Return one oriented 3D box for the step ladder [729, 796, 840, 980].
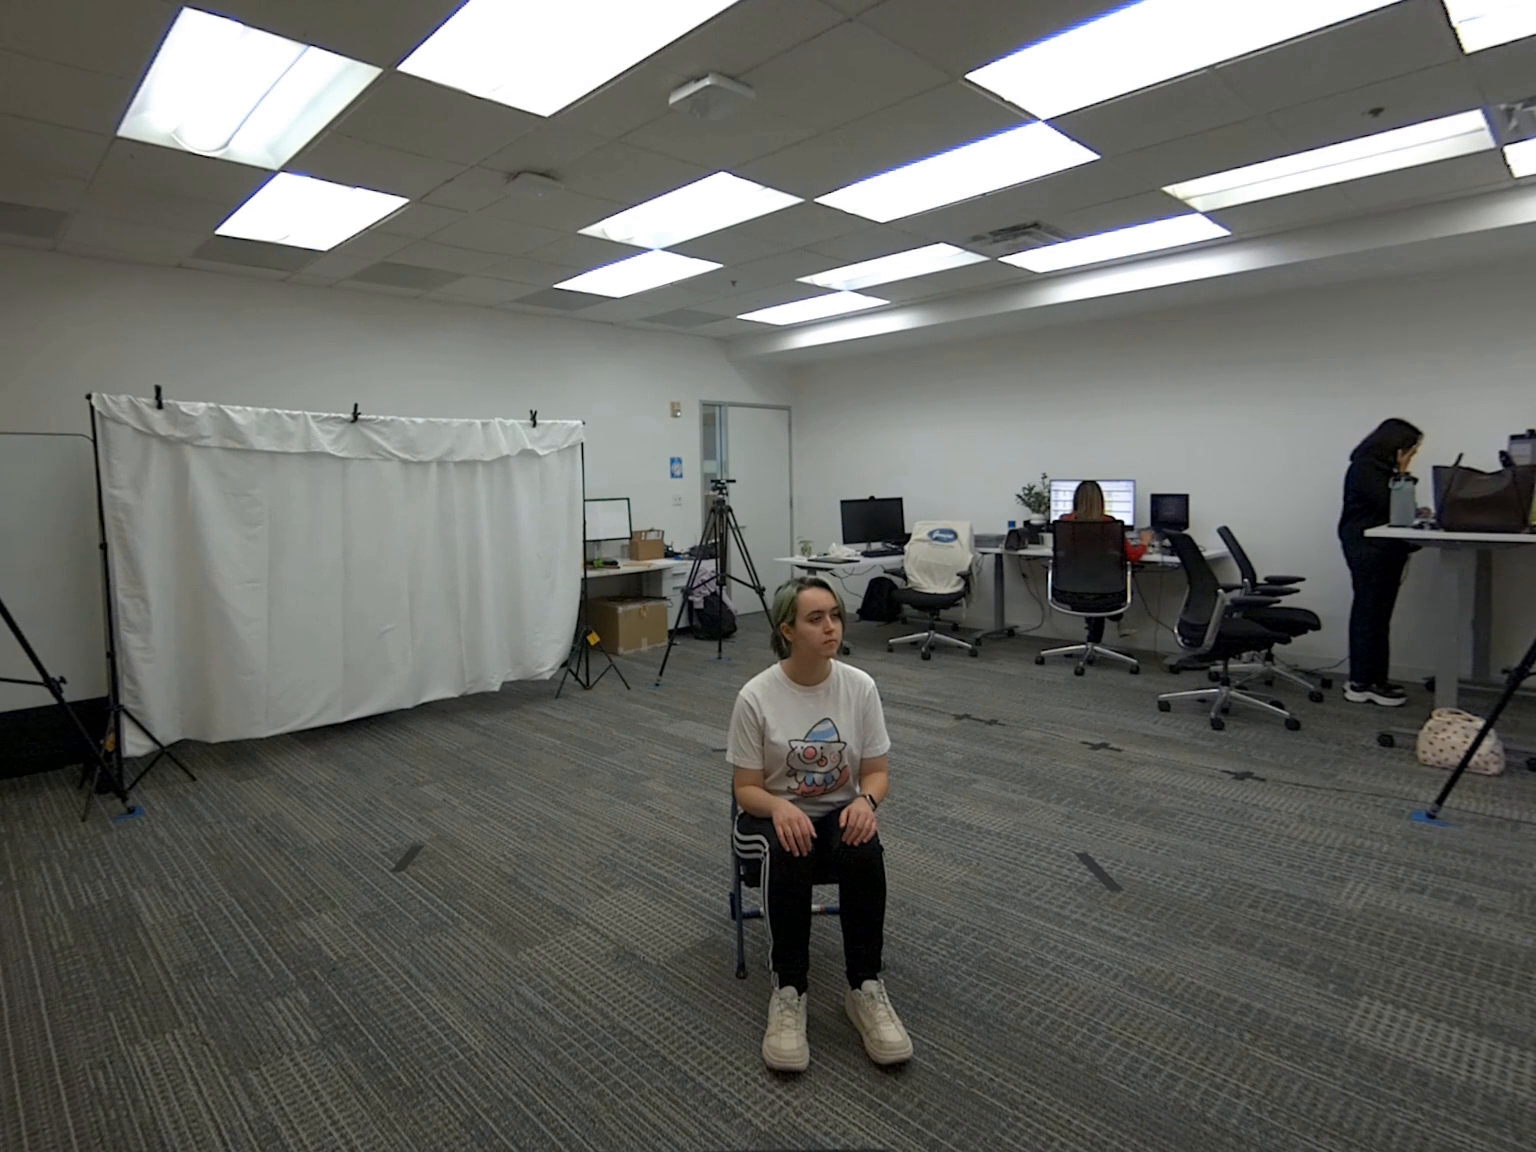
[{"bbox_3d":[0.108,0.812,2.566,0.429,0.603,0.353,-1,5,-5],"label":"step ladder"}]
